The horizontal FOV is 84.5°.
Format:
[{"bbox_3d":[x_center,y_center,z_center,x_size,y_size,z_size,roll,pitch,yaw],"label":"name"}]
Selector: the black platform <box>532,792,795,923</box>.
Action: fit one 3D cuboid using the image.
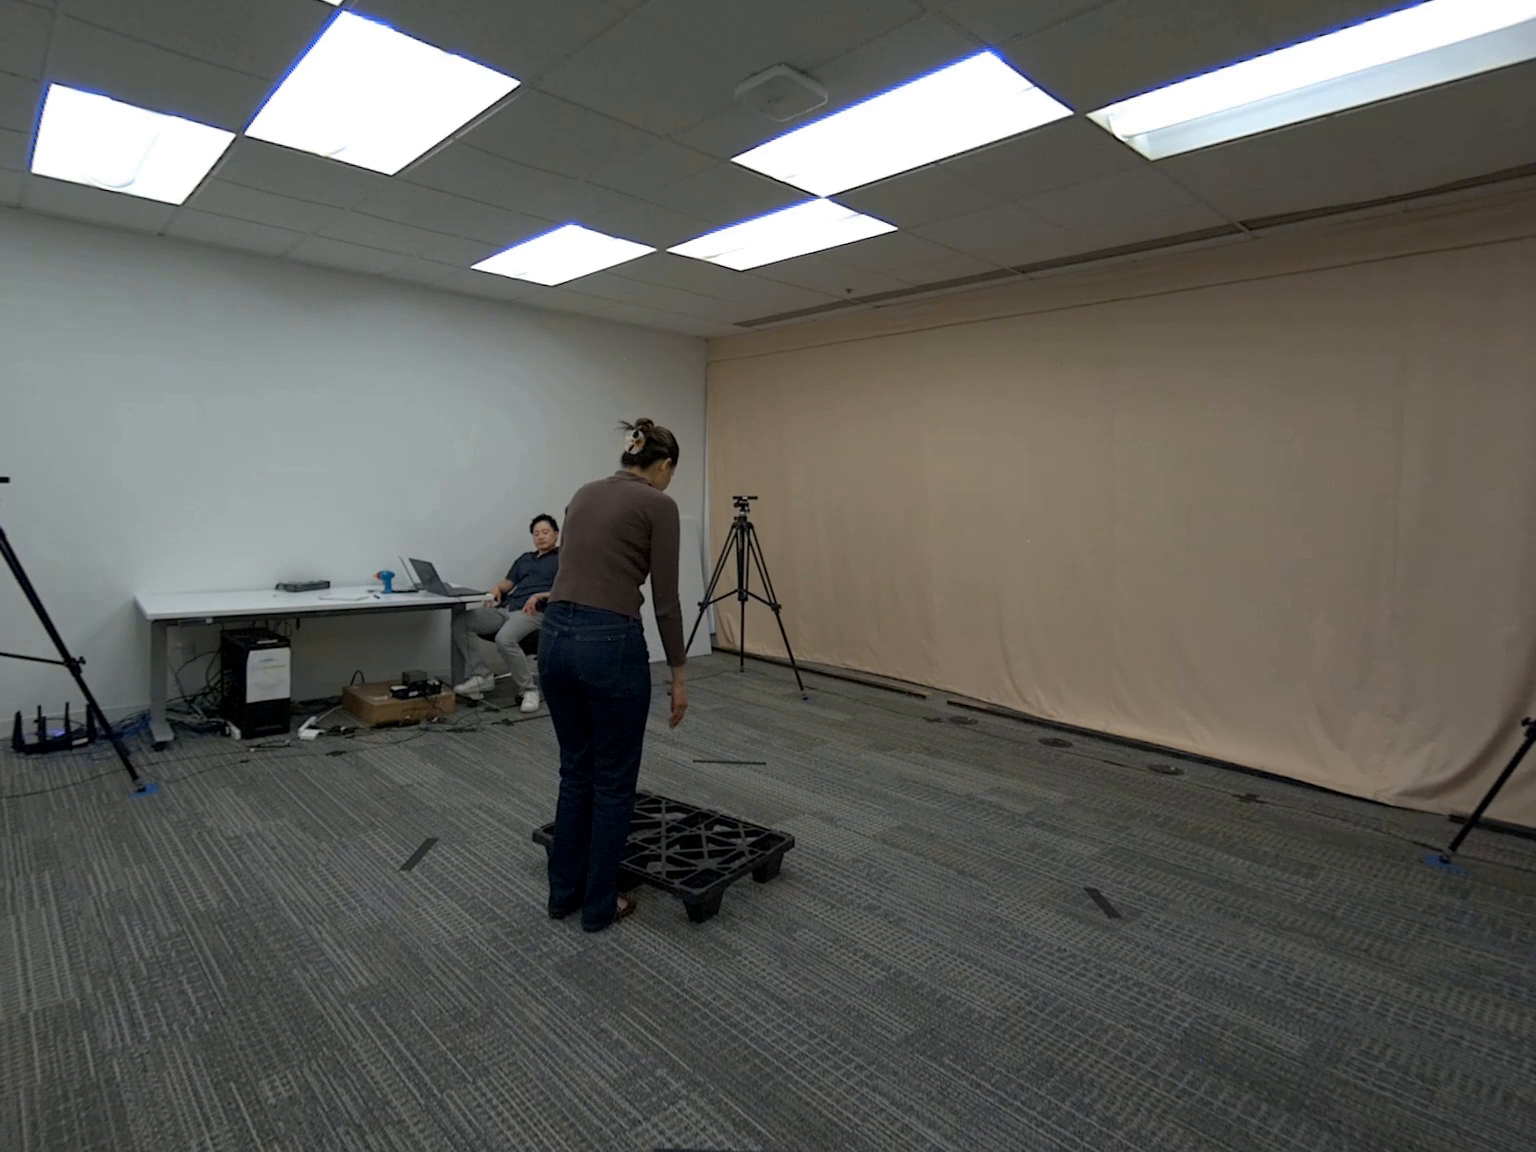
[{"bbox_3d":[-0.396,1.027,3.145,0.825,0.143,0.592,5,6,35],"label":"black platform"}]
